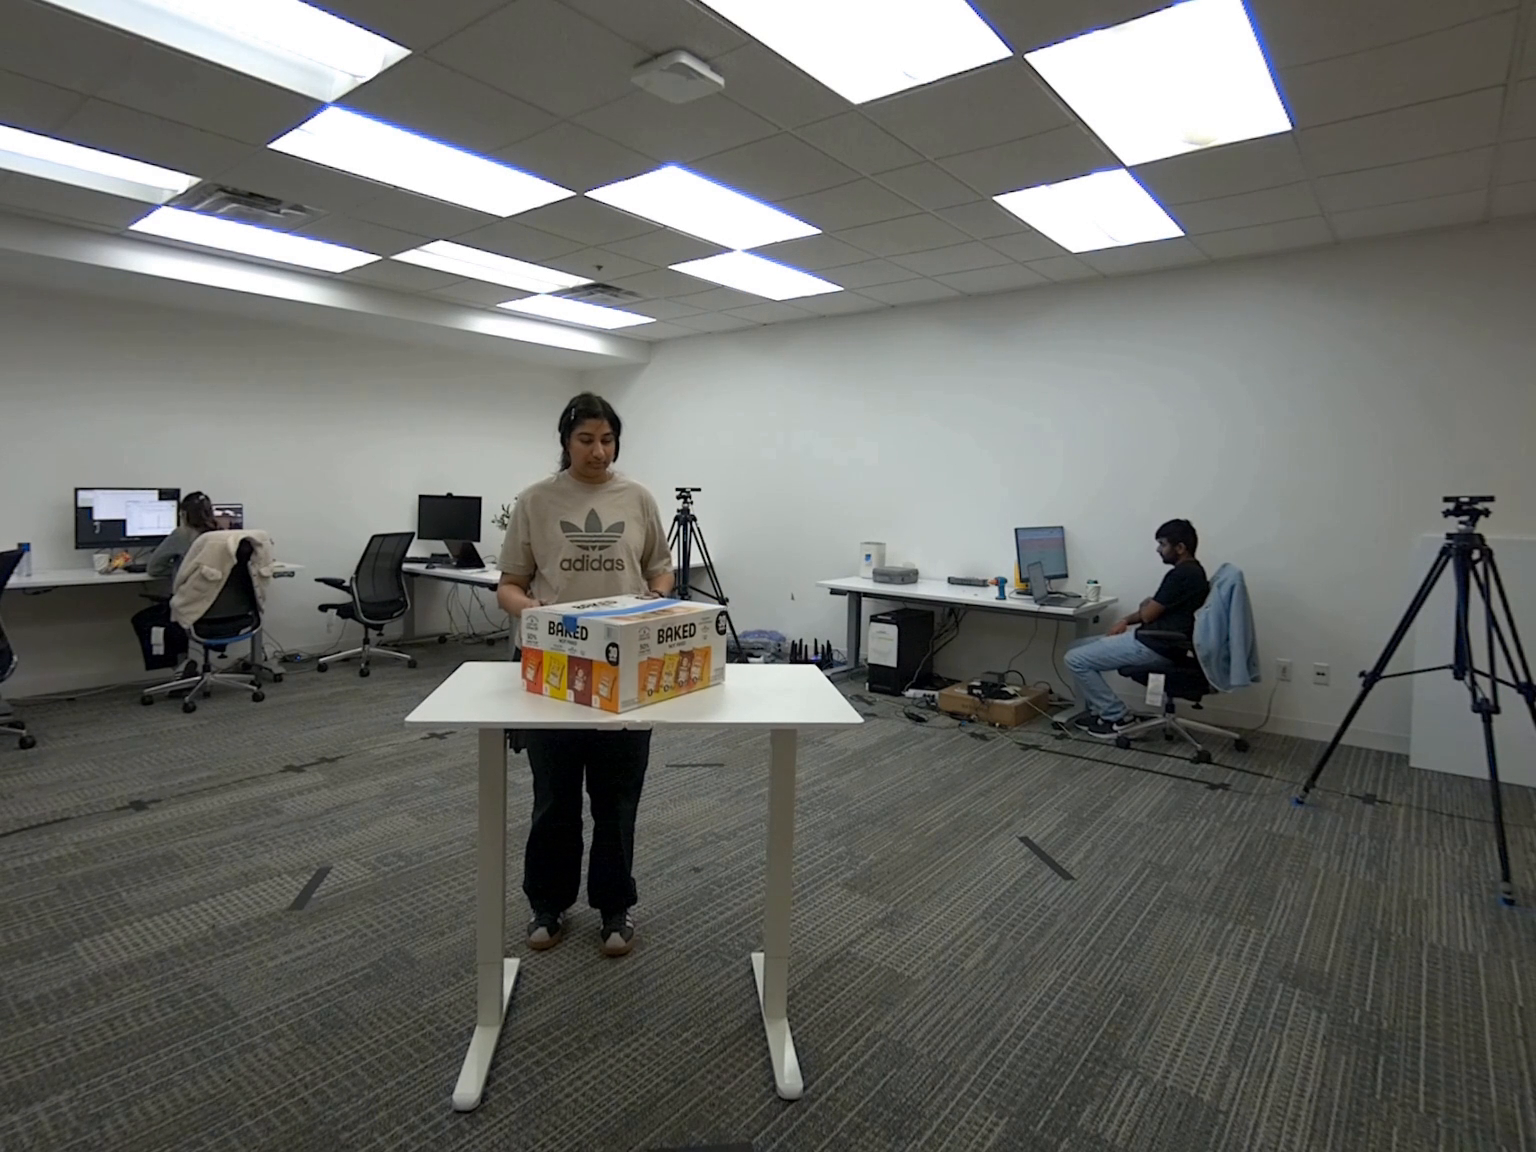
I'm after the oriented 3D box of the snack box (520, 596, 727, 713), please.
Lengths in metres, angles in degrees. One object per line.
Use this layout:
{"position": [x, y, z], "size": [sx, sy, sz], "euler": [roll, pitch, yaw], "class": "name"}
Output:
{"position": [-0.361, 0.179, 2.162], "size": [0.351, 0.205, 0.394], "euler": [5, 6, 34], "class": "snack box"}
